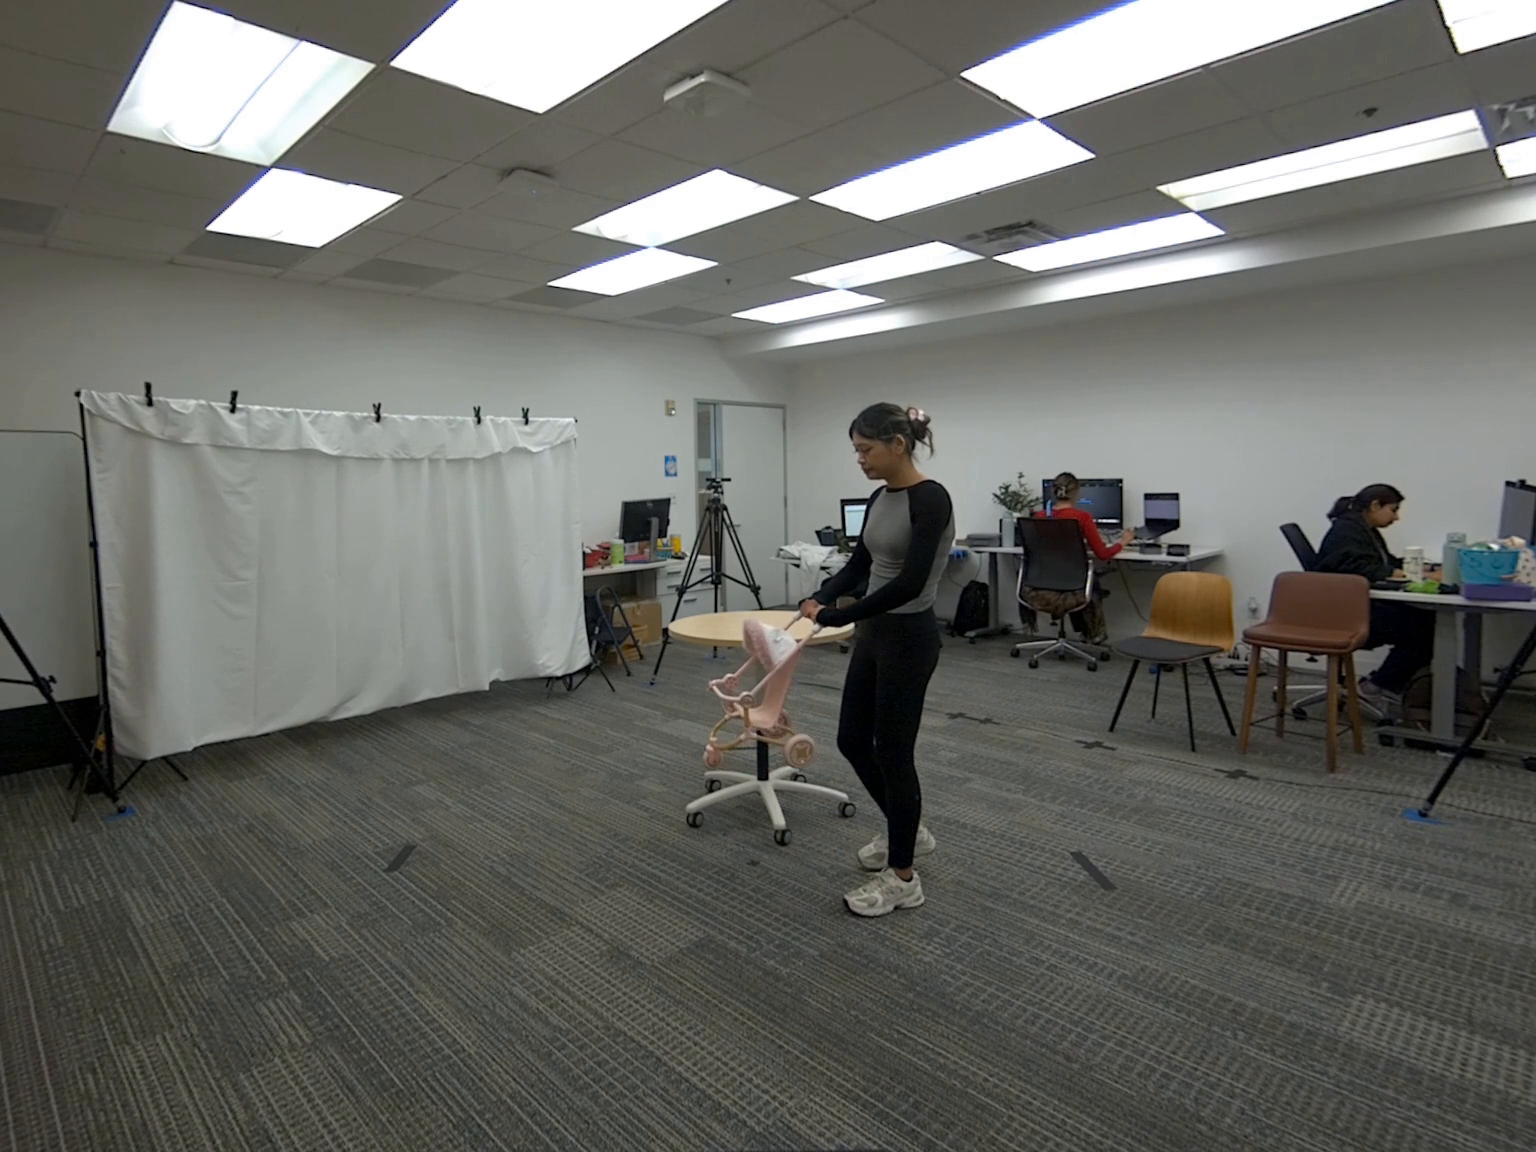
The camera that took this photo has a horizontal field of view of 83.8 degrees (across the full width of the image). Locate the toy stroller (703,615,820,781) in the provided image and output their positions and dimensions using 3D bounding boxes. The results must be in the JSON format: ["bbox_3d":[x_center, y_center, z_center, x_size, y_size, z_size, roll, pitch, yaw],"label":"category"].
[{"bbox_3d":[-0.029,0.362,2.727,0.338,0.532,0.285,4,7,-9],"label":"toy stroller"}]
